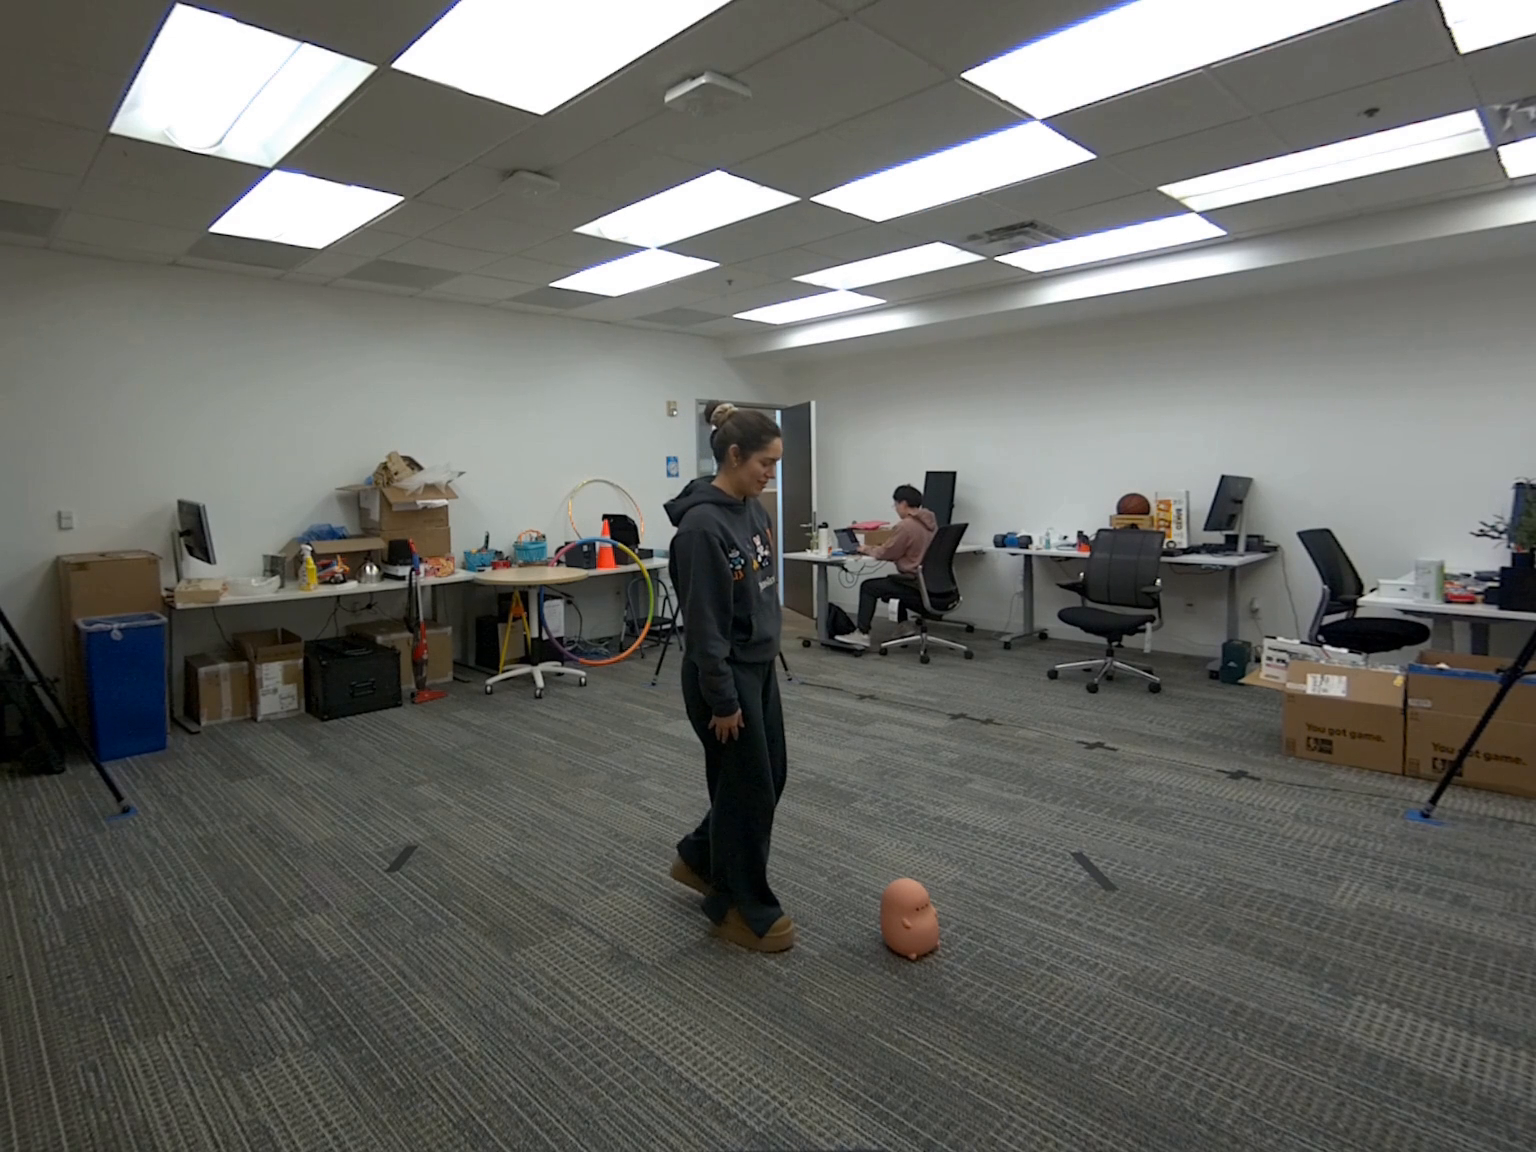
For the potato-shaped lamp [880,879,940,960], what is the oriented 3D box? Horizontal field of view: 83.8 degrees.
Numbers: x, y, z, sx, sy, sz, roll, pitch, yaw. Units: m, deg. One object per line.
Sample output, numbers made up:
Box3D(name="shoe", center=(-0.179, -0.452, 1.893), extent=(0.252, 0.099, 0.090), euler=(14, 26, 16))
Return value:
Box3D(name="potato-shaped lamp", center=(0.415, 1.001, 2.518), extent=(0.160, 0.197, 0.176), euler=(-5, 6, -36))
